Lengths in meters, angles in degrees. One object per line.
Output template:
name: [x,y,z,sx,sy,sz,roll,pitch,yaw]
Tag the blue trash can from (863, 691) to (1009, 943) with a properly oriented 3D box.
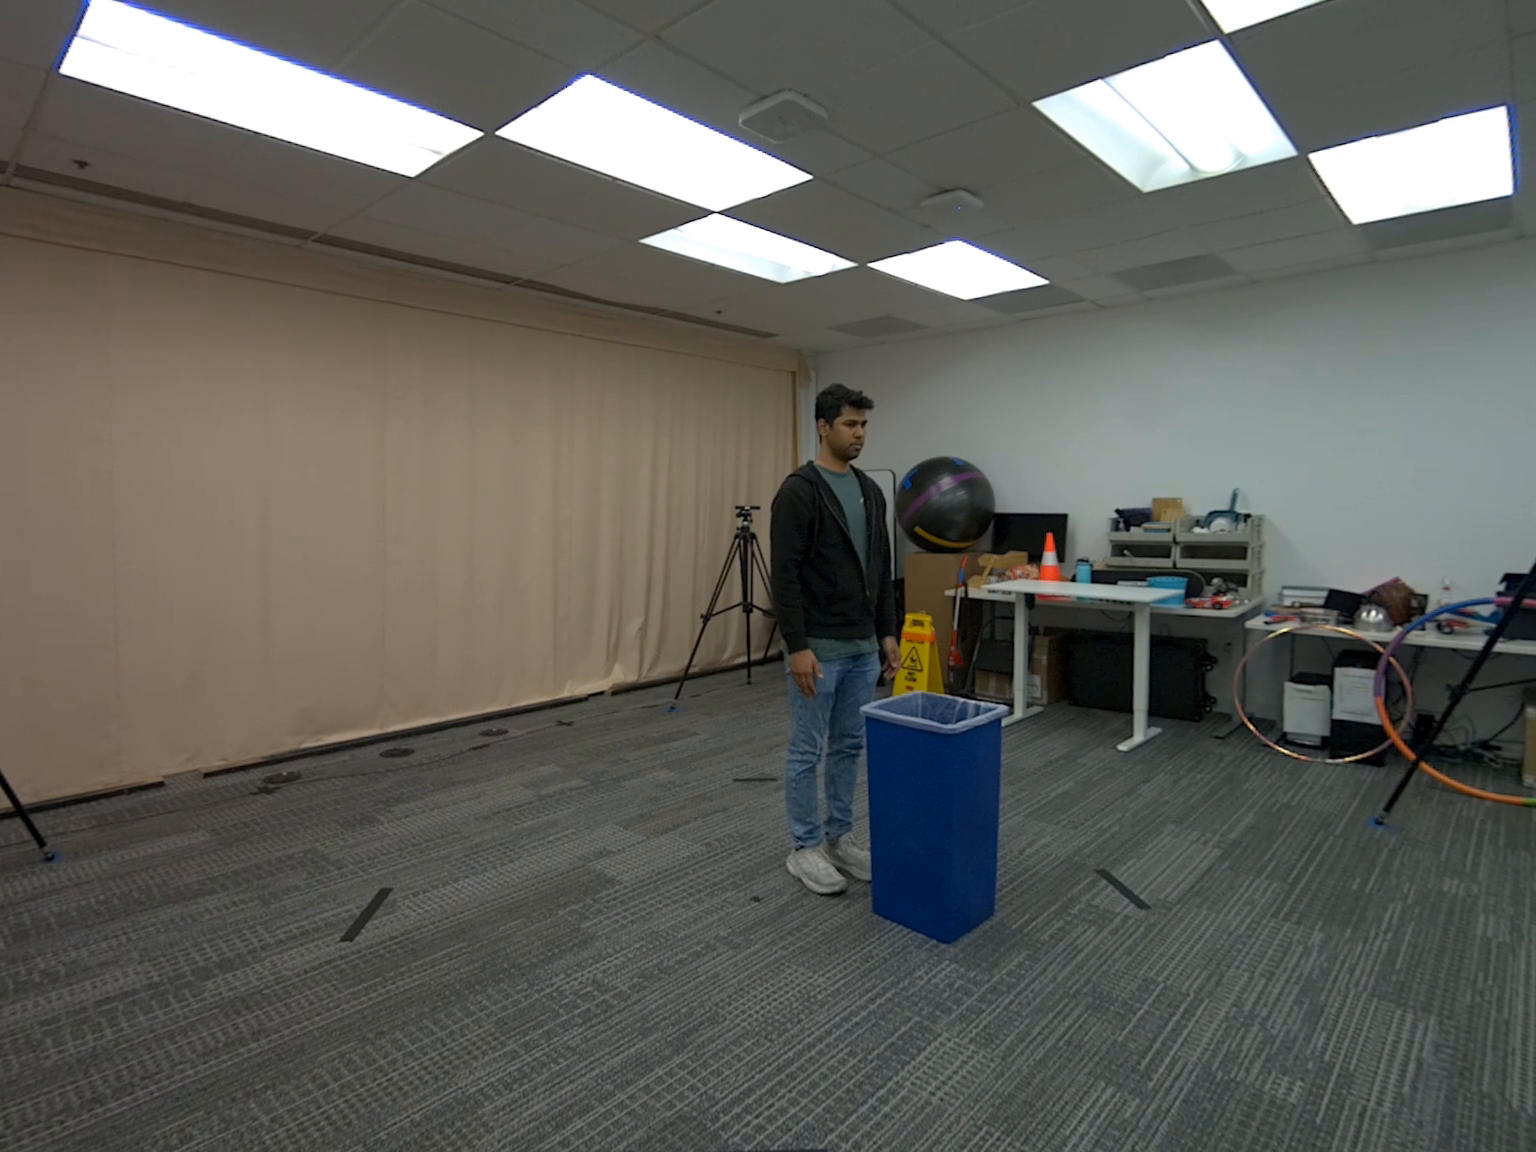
blue trash can: [0.569,0.797,2.842,0.362,0.712,0.390,-4,4,-45]
